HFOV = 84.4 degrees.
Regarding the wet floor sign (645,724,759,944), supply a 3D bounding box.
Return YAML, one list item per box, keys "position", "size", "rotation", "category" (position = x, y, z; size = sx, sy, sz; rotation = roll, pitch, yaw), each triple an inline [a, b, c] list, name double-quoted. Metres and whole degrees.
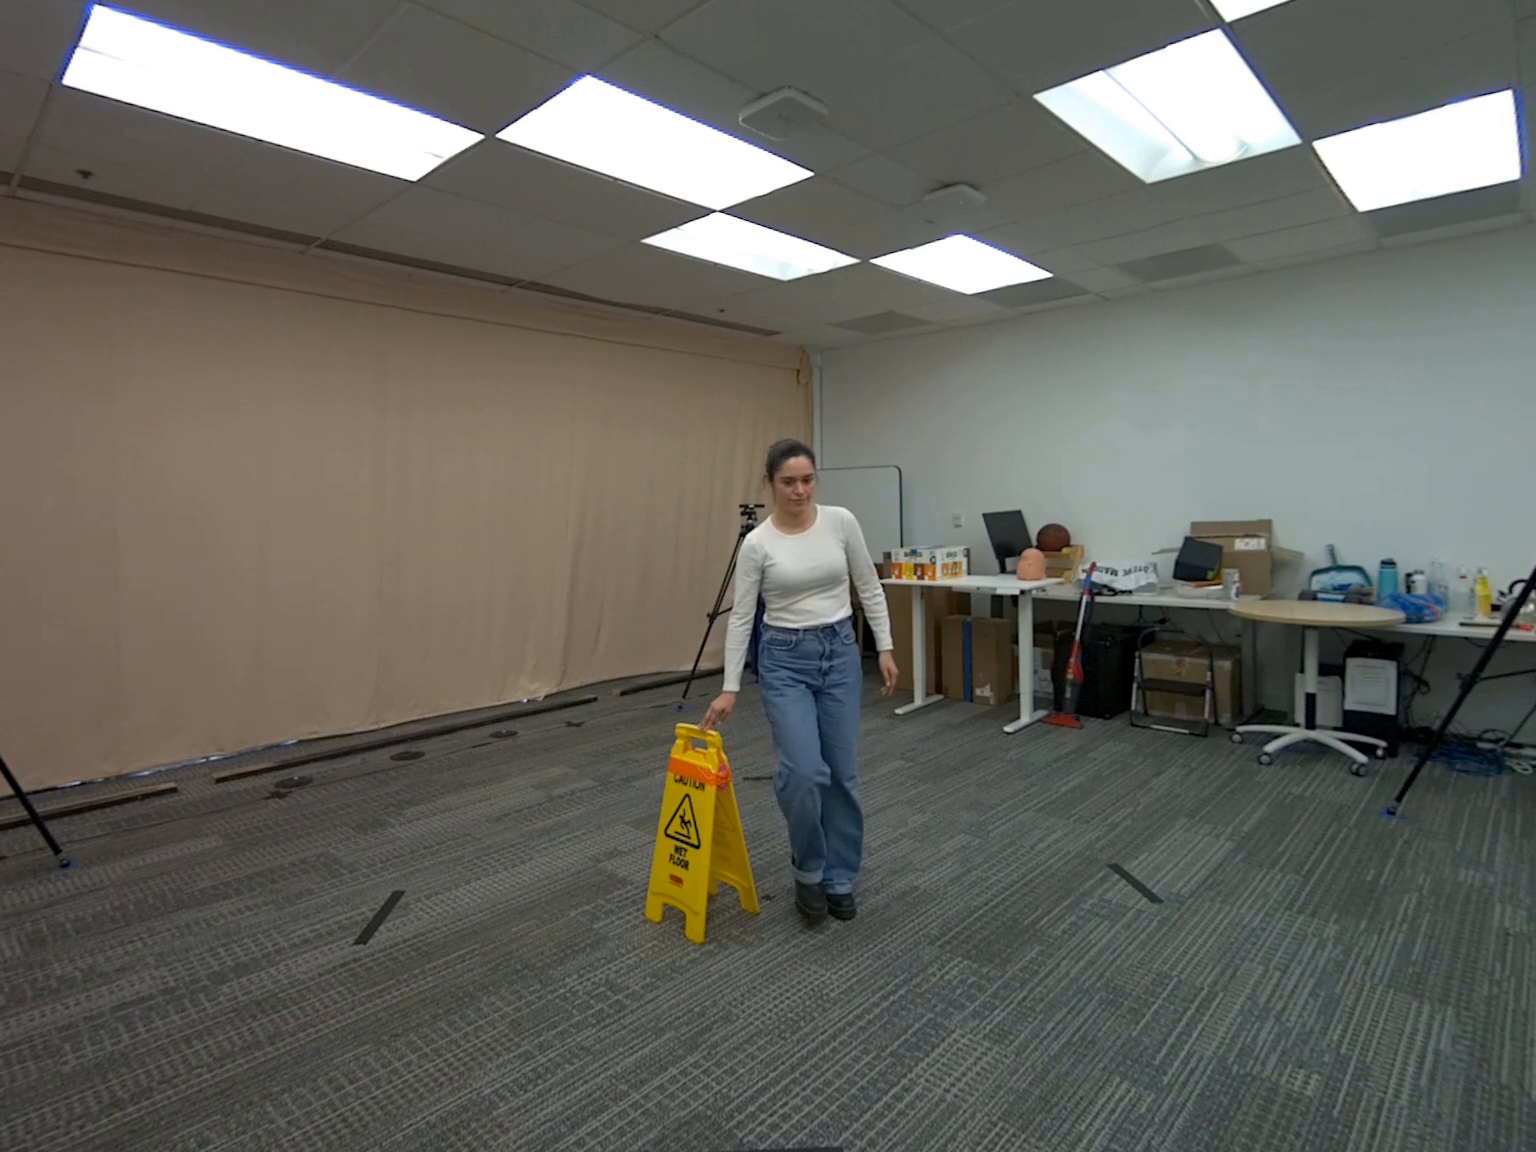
- position: [-0.228, 0.835, 2.849]
  size: [0.291, 0.645, 0.281]
  rotation: [1, 4, 43]
  category: "wet floor sign"
